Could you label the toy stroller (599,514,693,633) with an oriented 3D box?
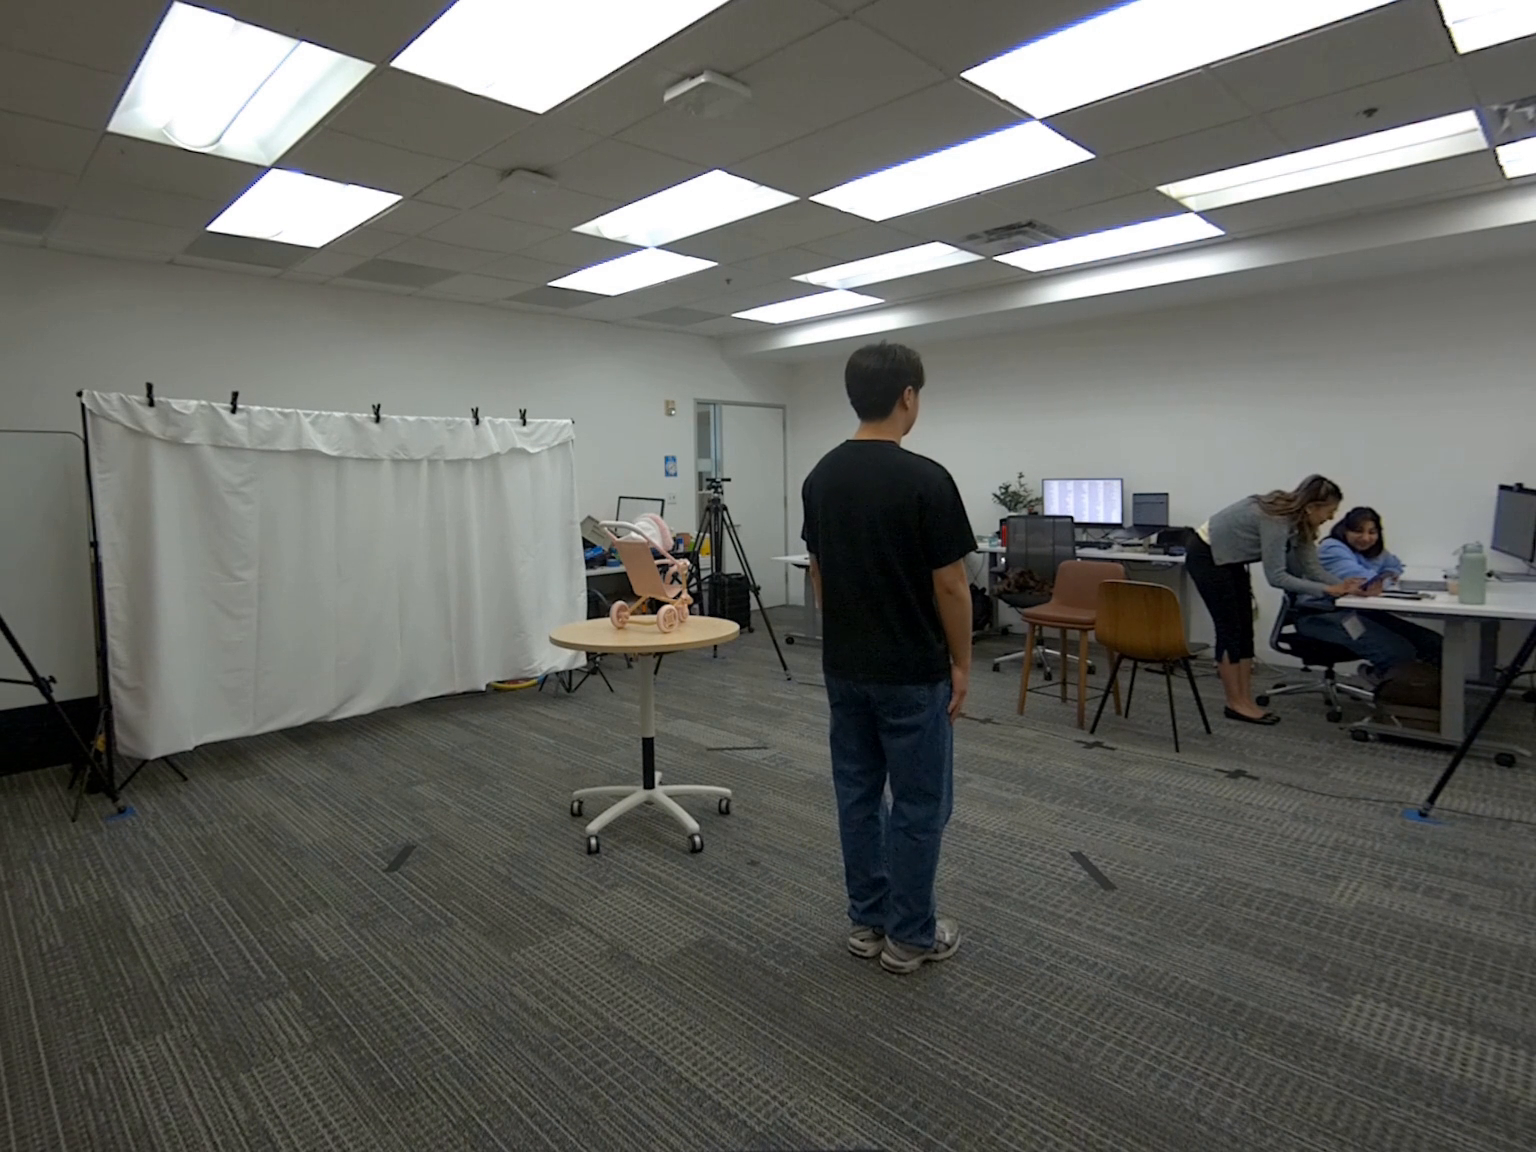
[{"bbox_3d":[-0.463,-0.013,3.462,0.290,0.527,0.336,2,19,37],"label":"toy stroller"}]
